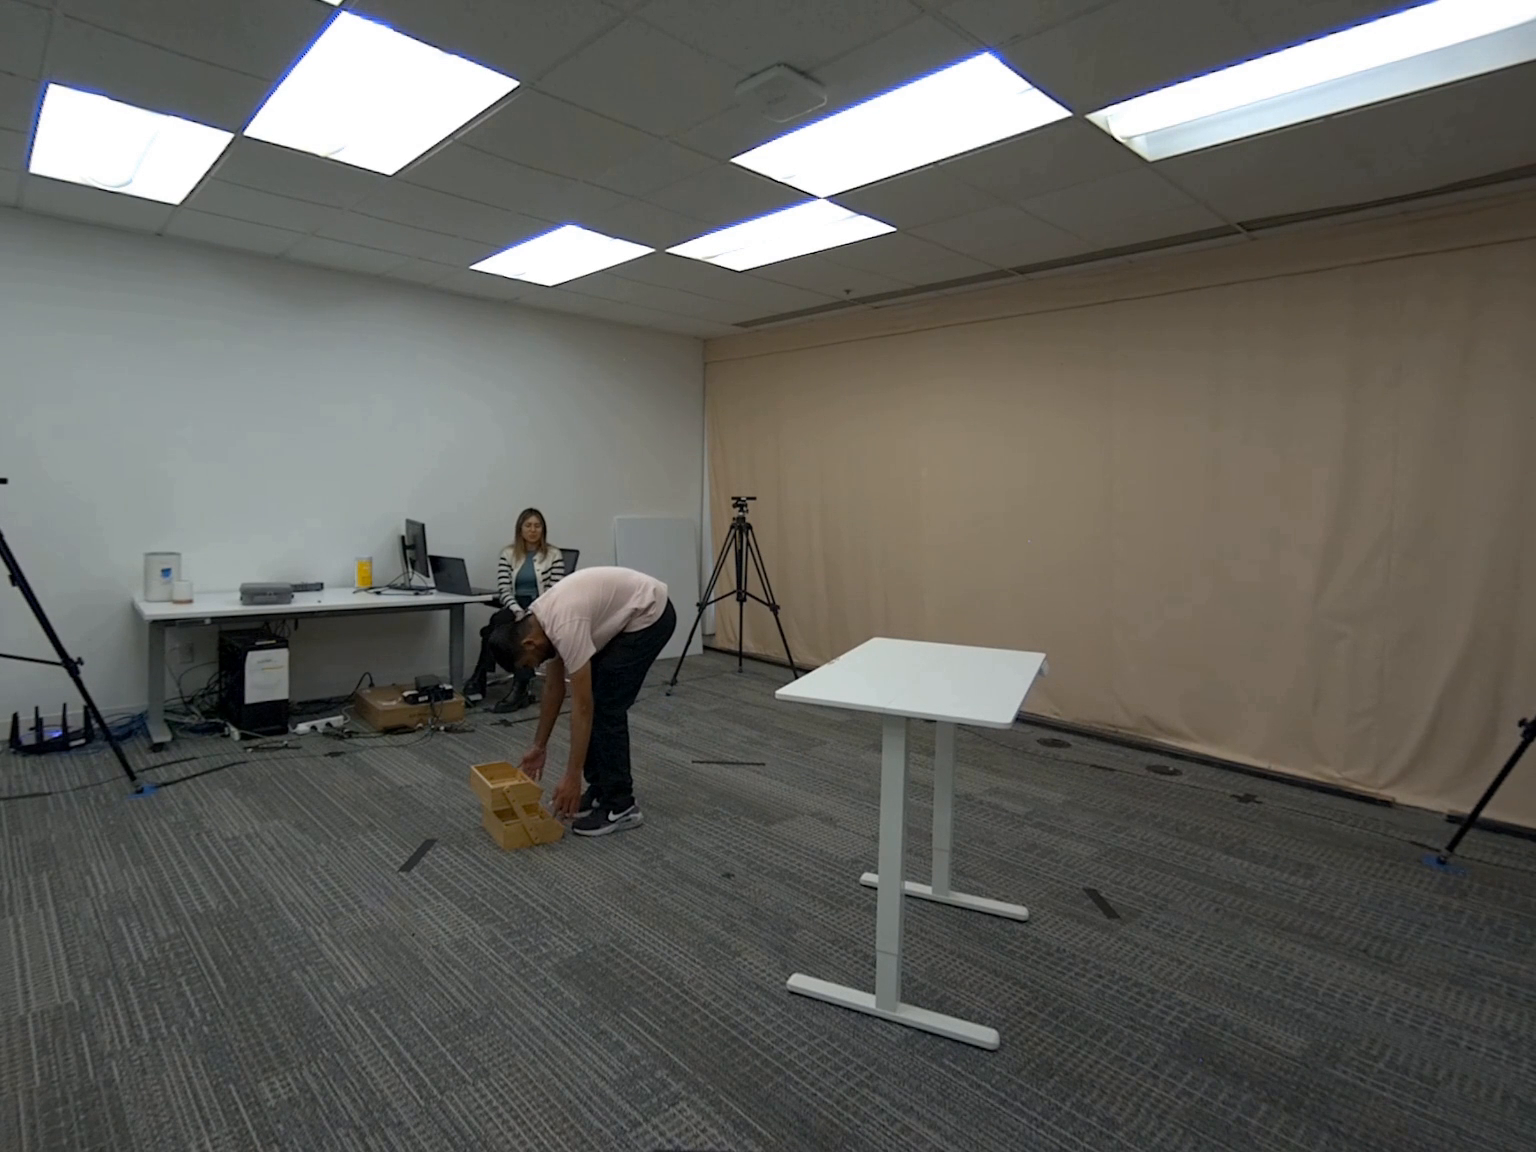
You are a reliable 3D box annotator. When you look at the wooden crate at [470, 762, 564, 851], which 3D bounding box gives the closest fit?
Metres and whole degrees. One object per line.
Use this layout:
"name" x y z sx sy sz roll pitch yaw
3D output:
"wooden crate" -1.040 0.922 3.442 0.295 0.272 0.332 -2 6 -34
